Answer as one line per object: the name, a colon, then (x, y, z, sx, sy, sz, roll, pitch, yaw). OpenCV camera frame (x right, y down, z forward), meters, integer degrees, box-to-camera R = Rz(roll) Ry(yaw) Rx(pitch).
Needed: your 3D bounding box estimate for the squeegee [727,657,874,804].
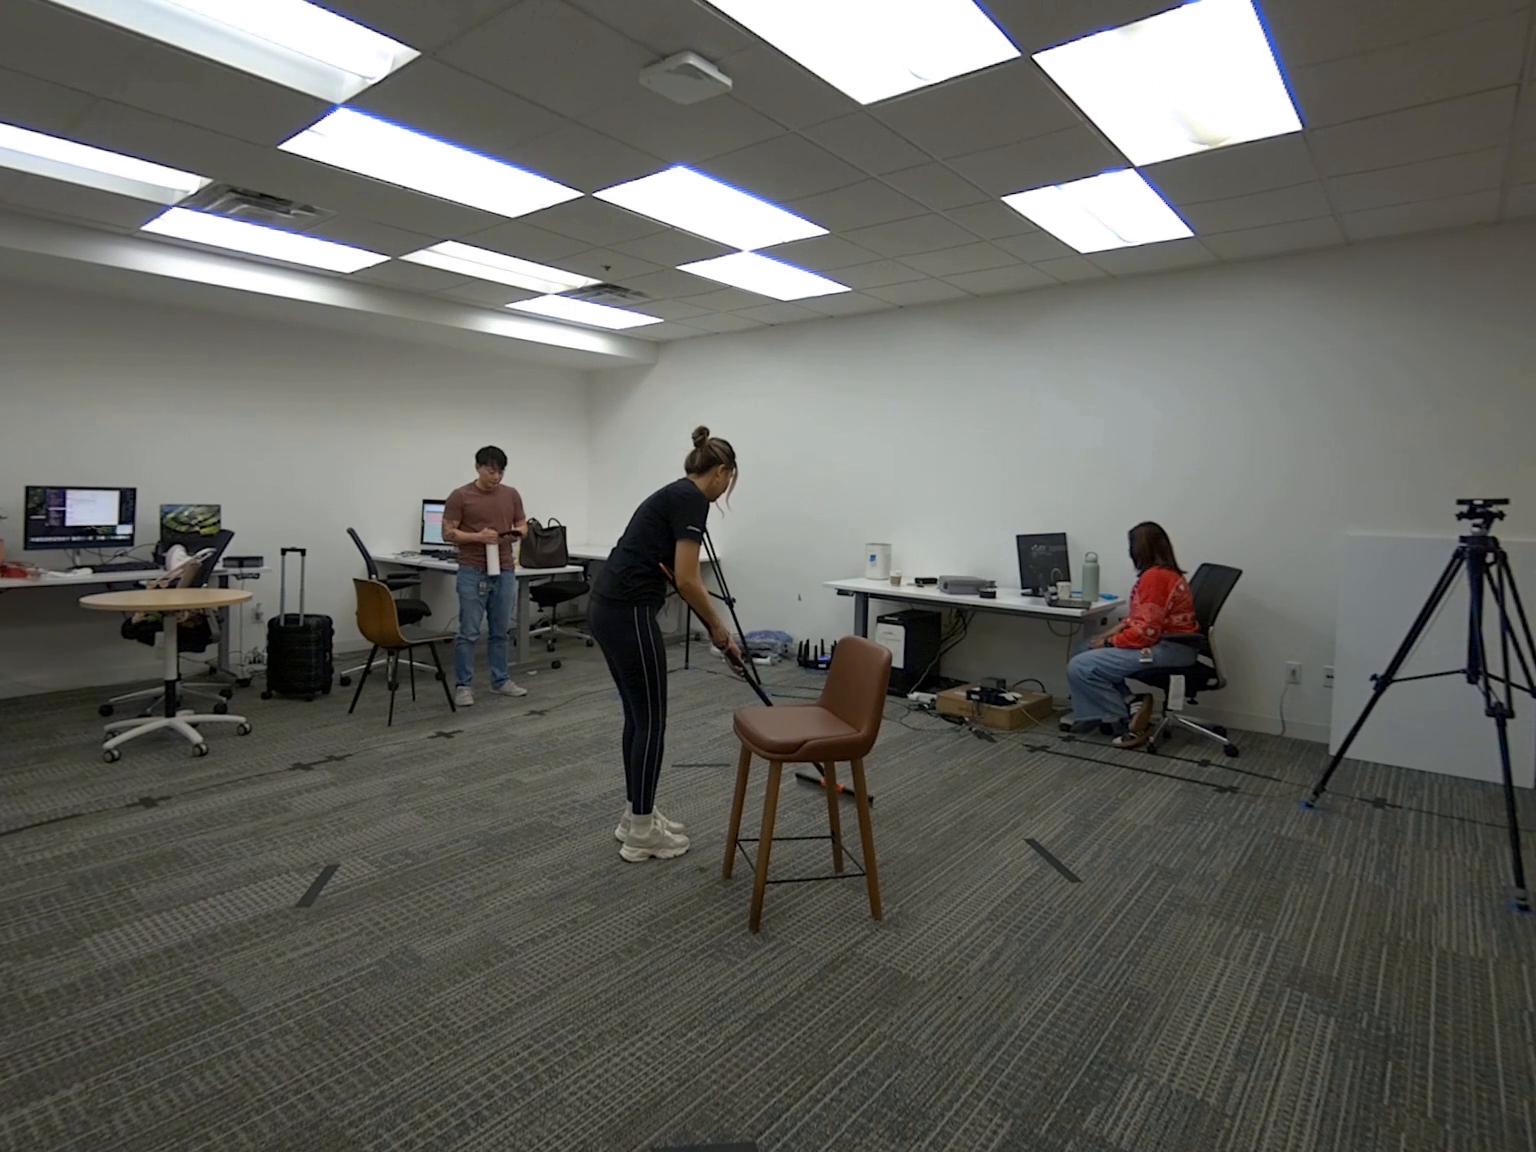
squeegee: (-0.065, 0.451, 3.506, 0.452, 0.053, 1.480, 4, -41, 44)
